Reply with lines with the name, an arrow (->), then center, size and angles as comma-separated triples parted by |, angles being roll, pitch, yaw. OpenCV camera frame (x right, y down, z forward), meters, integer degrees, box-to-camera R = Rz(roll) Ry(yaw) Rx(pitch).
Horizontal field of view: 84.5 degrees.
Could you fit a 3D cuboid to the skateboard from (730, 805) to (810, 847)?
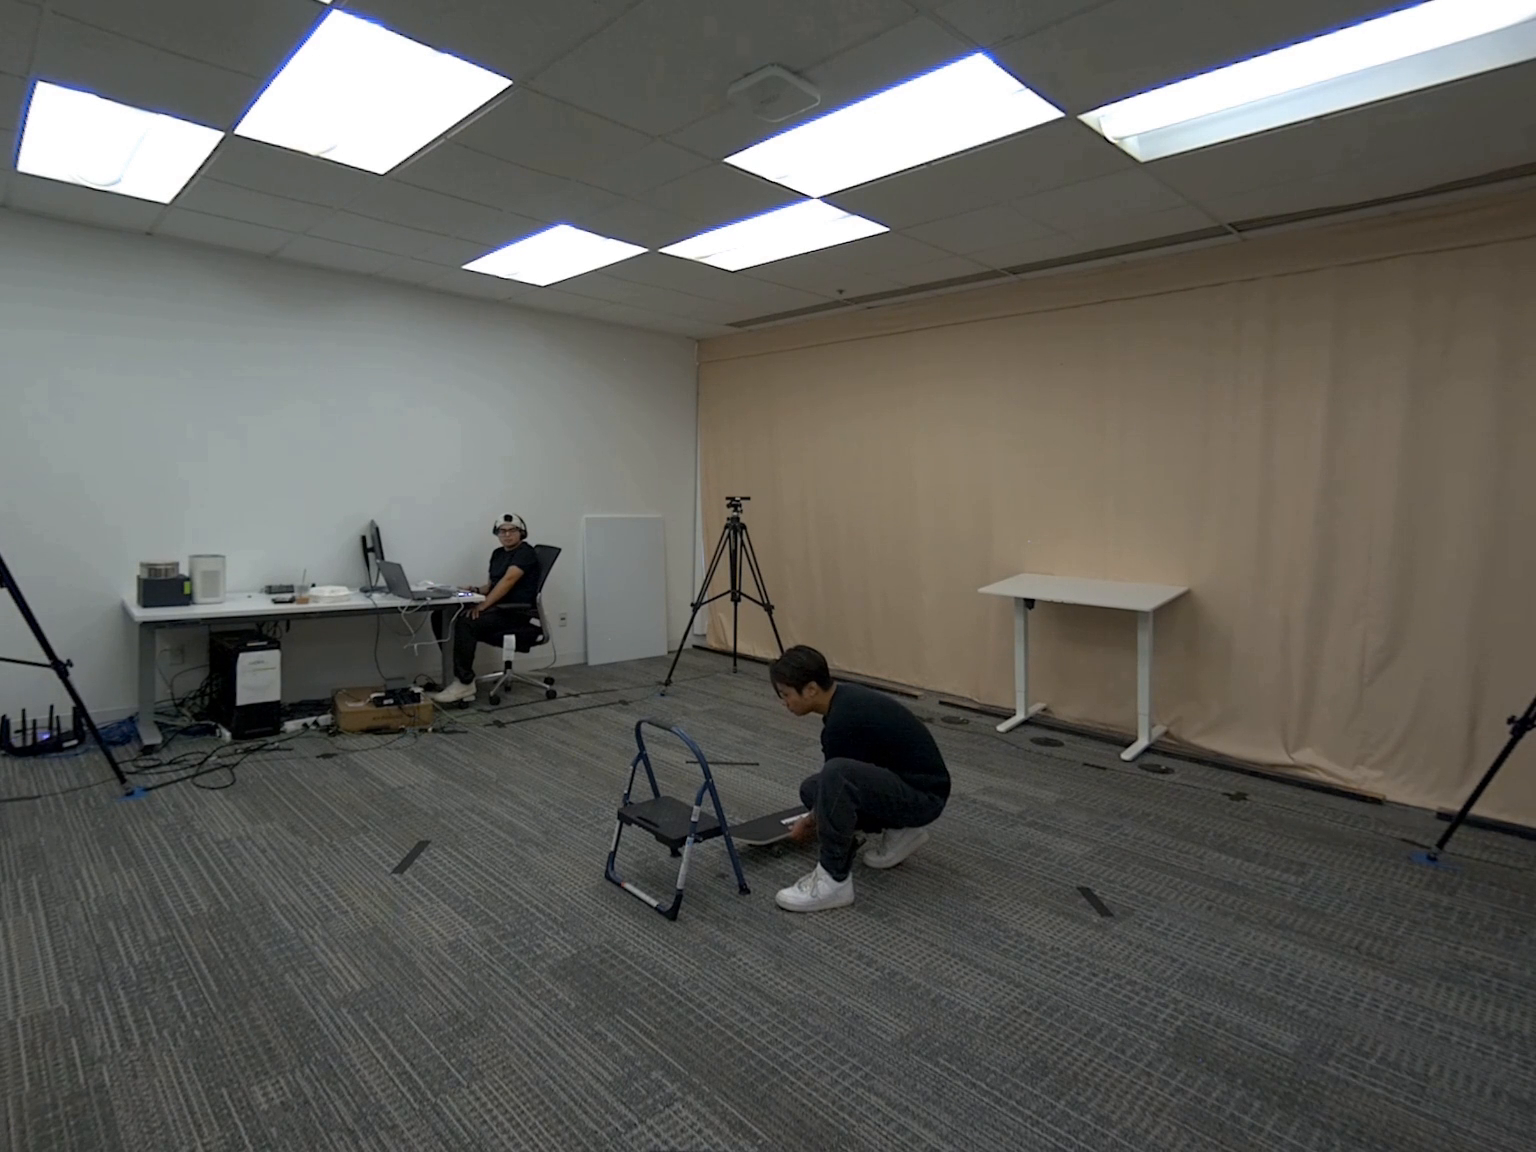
skateboard -> 0.133, 1.027, 3.464 | 0.767, 0.110, 0.198 | -2, 5, -41
